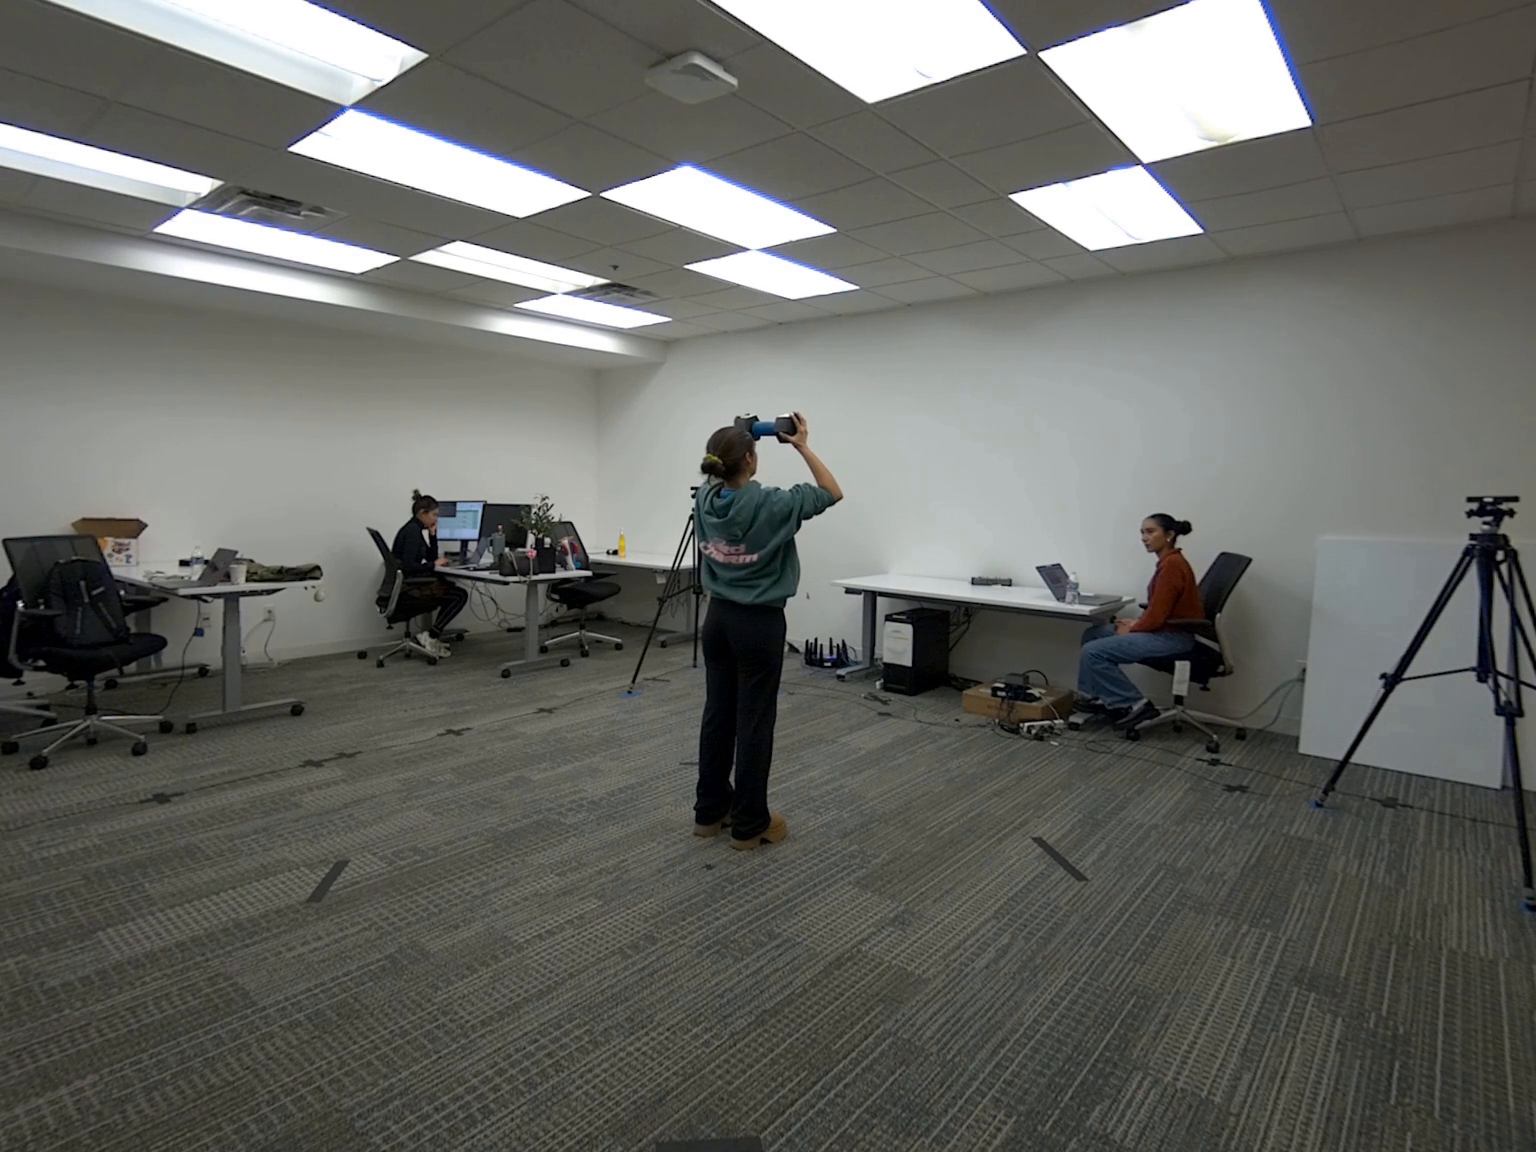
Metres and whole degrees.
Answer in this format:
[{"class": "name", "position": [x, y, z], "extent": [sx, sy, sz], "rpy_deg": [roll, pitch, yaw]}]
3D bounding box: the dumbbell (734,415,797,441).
[{"class": "dumbbell", "position": [-0.016, -0.601, 3.440], "extent": [0.304, 0.124, 0.104], "rpy_deg": [7, -9, 39]}]
